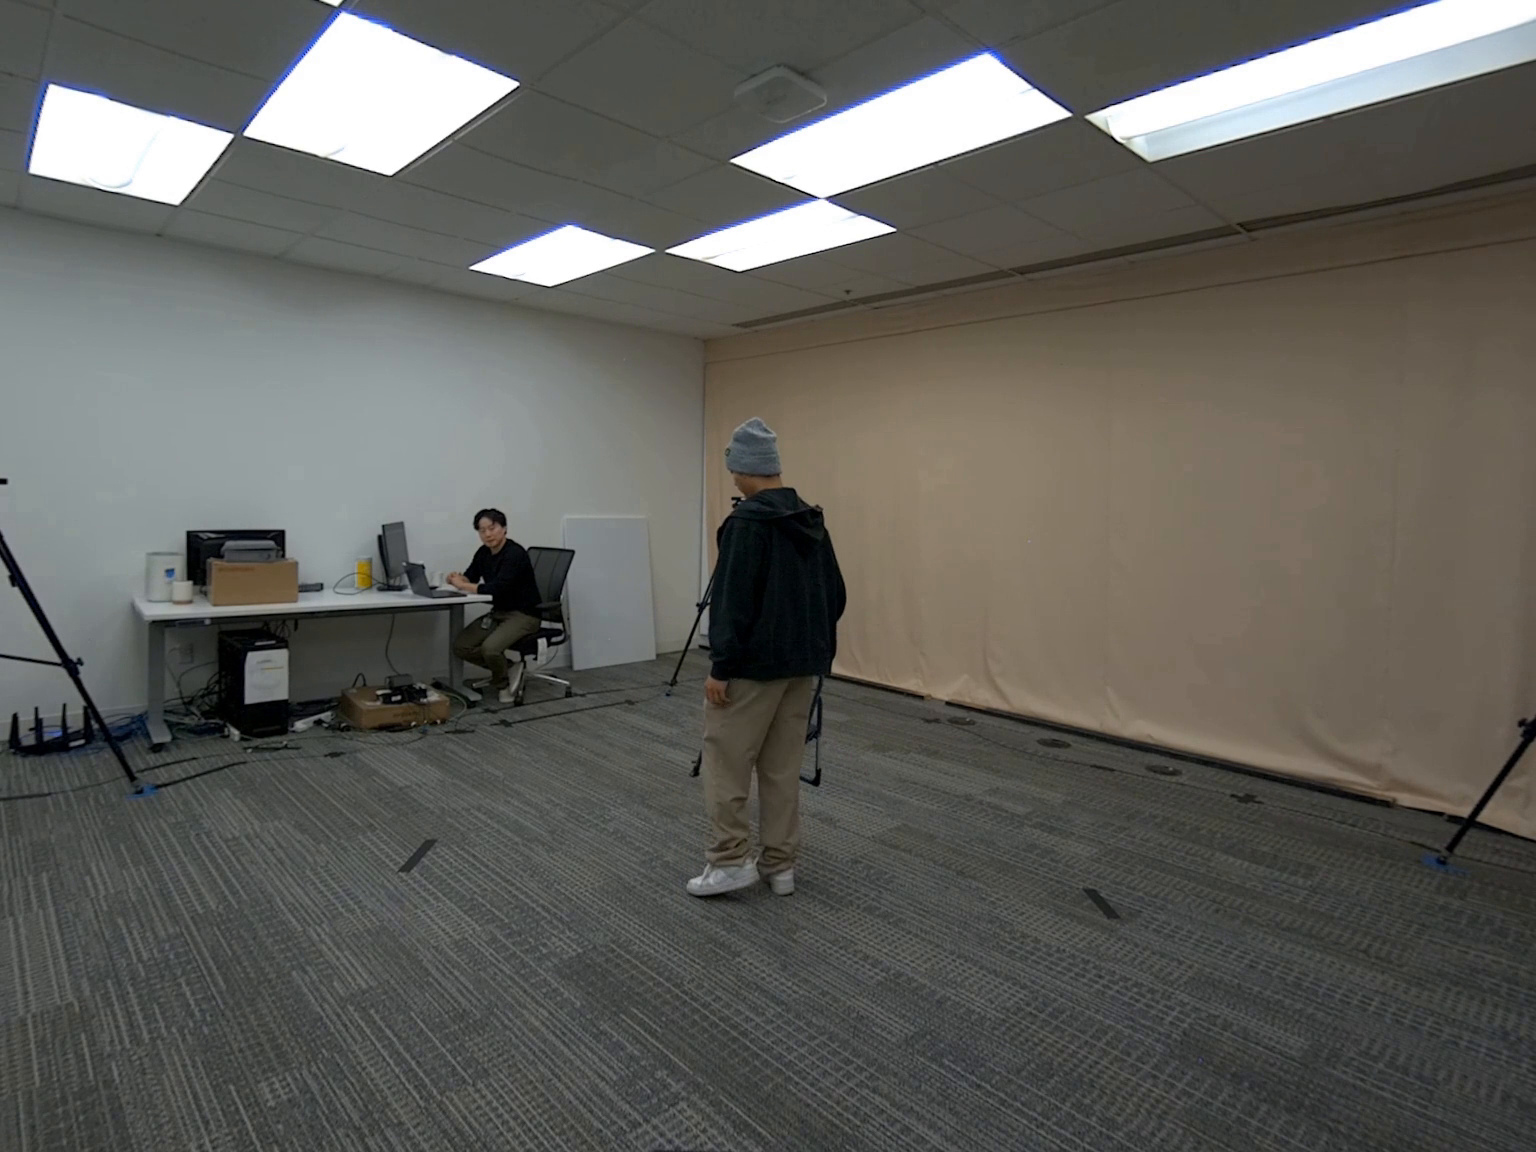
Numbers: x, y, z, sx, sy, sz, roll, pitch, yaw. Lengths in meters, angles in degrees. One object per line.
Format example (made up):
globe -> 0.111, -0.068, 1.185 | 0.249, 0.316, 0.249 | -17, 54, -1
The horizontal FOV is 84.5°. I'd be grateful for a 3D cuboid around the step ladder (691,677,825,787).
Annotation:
step ladder -> -0.006, 0.550, 3.348 | 0.442, 0.601, 0.343 | 17, 16, 30
